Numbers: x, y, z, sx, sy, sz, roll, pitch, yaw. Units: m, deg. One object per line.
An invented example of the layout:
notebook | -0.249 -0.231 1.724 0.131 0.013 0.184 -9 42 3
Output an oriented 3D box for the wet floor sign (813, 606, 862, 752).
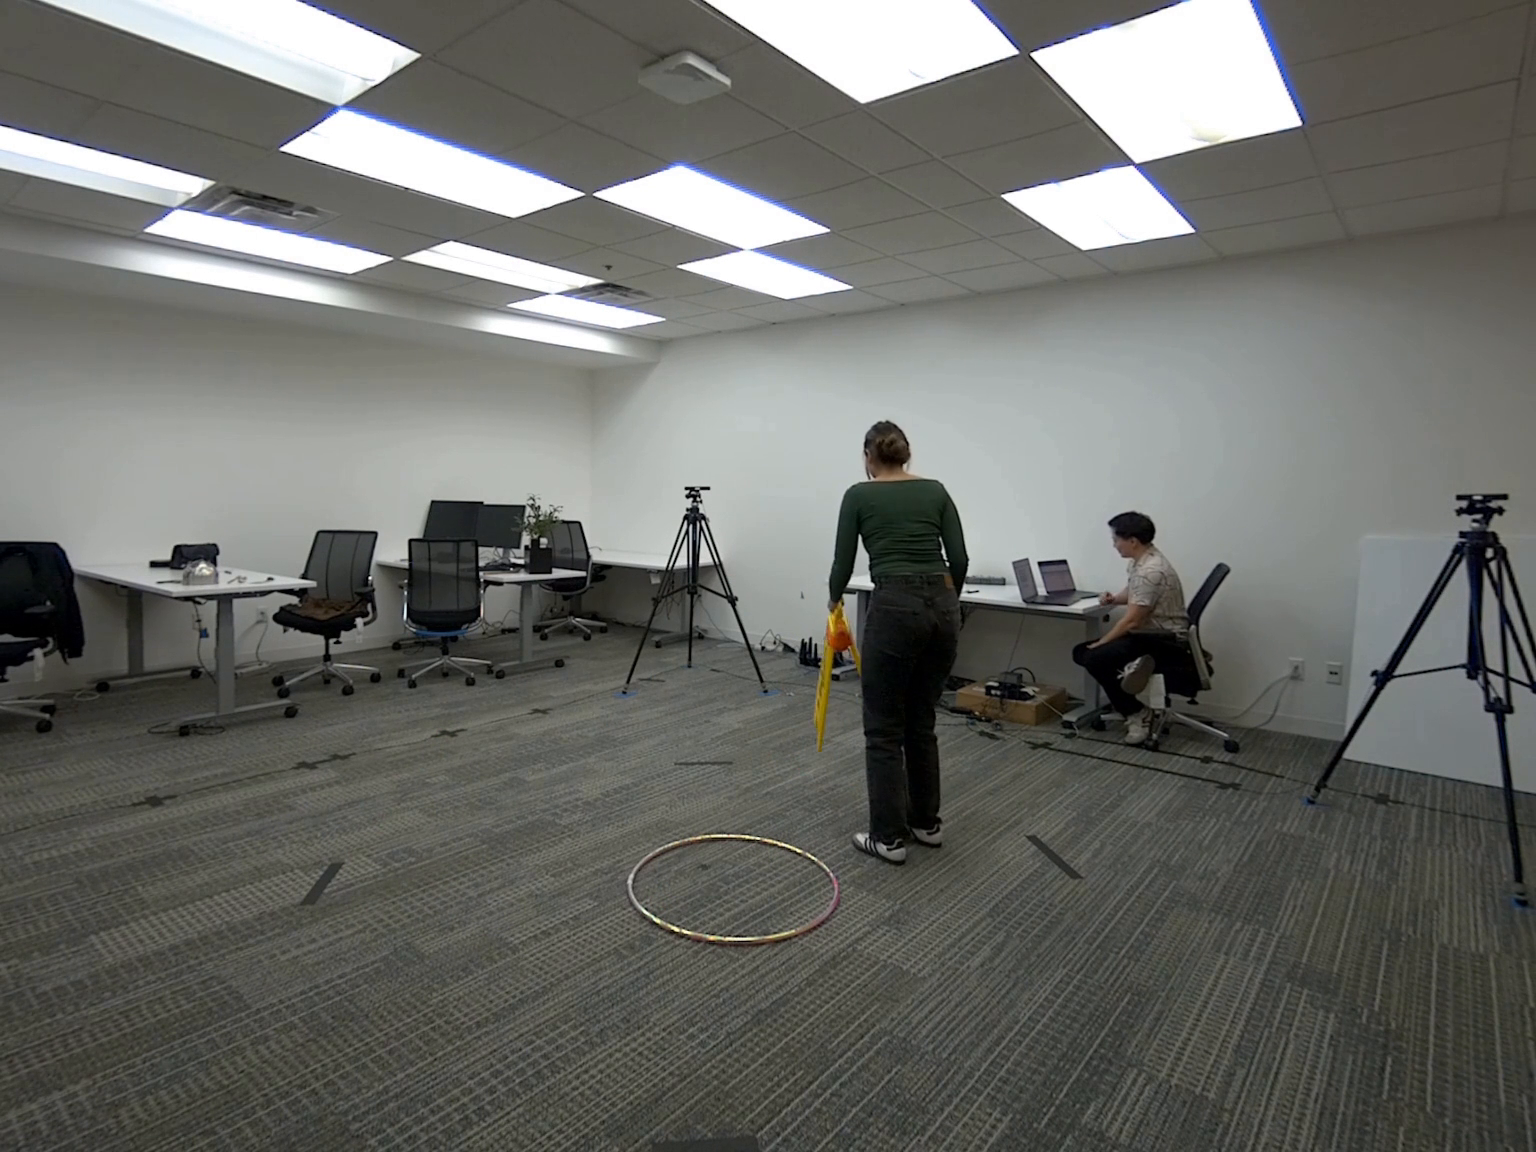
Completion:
wet floor sign | 0.315 0.412 3.687 0.290 0.634 0.287 -6 18 1
